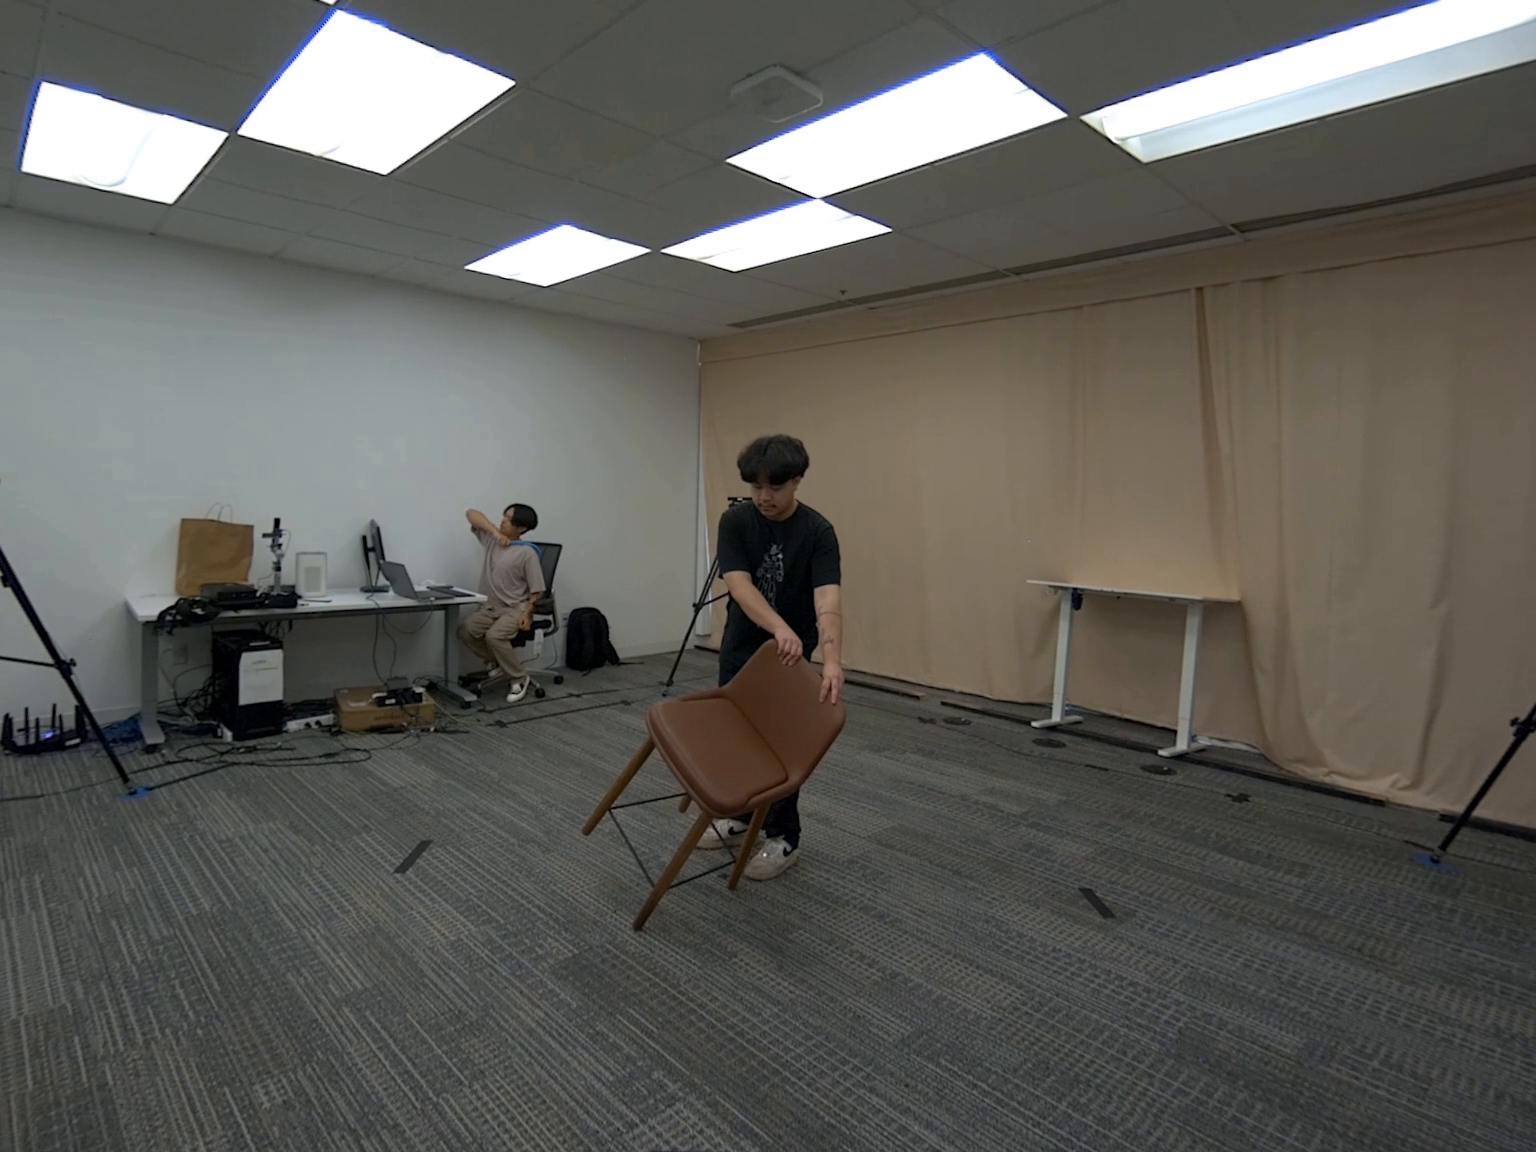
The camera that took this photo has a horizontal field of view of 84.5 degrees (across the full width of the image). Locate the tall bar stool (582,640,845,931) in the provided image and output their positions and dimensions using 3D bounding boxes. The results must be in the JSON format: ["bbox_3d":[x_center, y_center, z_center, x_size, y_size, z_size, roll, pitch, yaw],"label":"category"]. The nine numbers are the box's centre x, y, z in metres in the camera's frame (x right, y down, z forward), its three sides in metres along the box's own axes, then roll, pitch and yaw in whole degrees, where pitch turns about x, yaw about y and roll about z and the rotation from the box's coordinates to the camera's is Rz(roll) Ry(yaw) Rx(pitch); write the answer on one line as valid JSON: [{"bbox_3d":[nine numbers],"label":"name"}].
[{"bbox_3d":[-0.197,0.672,2.773,0.456,0.884,0.471,2,36,-45],"label":"tall bar stool"}]
